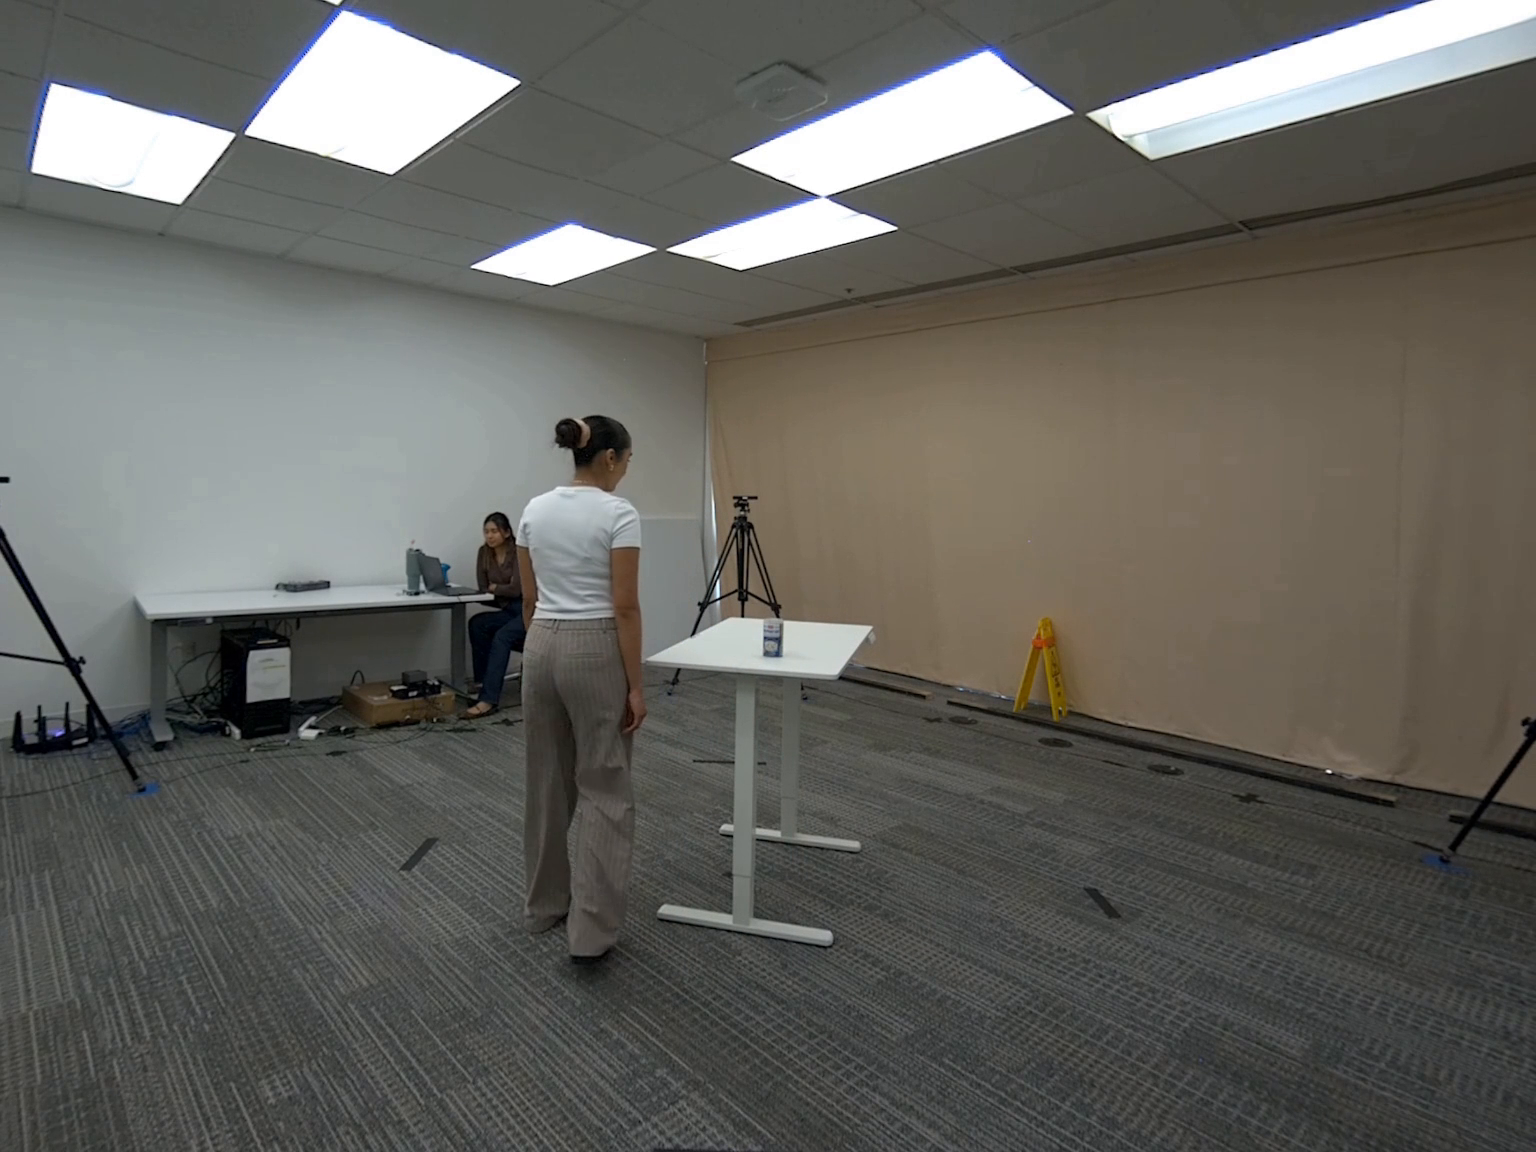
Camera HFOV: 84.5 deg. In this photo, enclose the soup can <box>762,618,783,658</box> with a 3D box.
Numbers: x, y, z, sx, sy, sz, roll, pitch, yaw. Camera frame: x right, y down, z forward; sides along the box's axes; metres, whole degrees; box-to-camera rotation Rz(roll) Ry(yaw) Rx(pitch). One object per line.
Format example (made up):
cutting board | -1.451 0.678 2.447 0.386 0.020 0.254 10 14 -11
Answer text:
soup can | 0.015 0.205 2.724 0.067 0.121 0.067 3 2 -1
